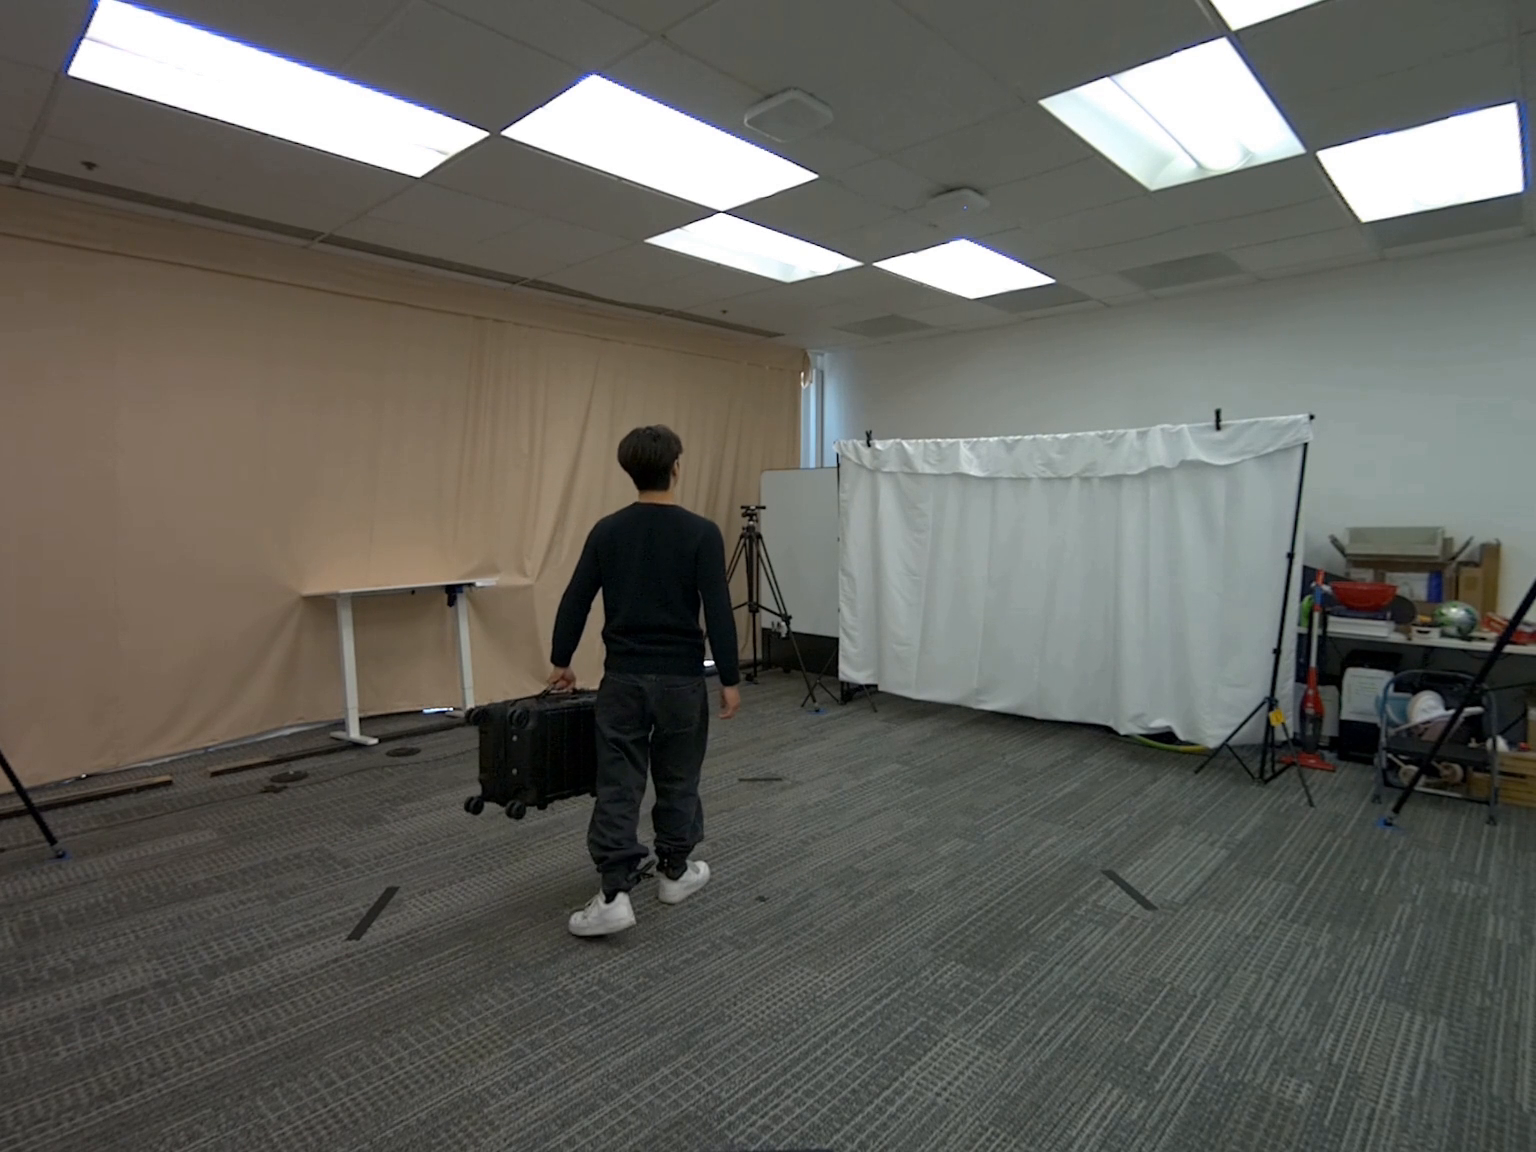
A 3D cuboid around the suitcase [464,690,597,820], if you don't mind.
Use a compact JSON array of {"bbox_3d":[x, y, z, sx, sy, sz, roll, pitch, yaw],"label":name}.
[{"bbox_3d":[-0.667,0.617,3.145,0.264,0.385,0.949,-4,-5,30],"label":"suitcase"}]
